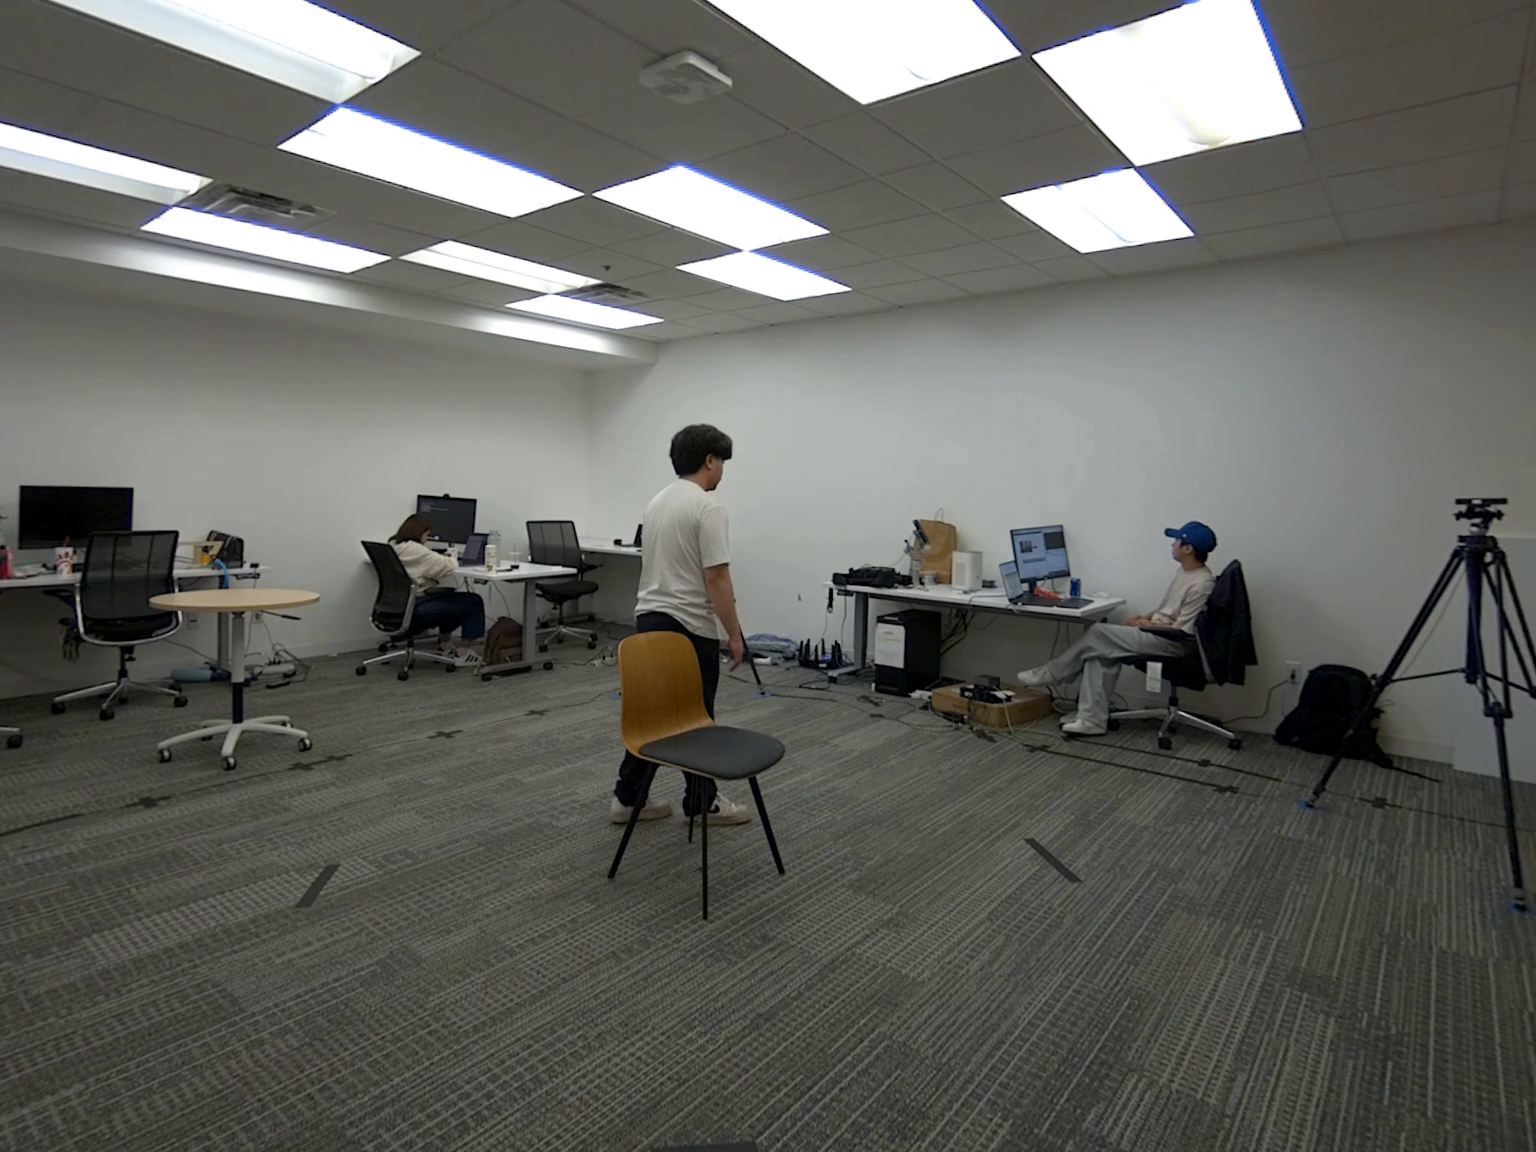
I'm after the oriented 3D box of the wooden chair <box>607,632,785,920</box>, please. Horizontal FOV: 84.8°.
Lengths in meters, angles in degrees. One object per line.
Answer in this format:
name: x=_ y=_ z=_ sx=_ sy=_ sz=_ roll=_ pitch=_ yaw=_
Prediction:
wooden chair: x=-0.247 y=0.651 z=3.017 sx=0.539 sy=0.877 sz=0.464 roll=-2 pitch=1 yaw=37
